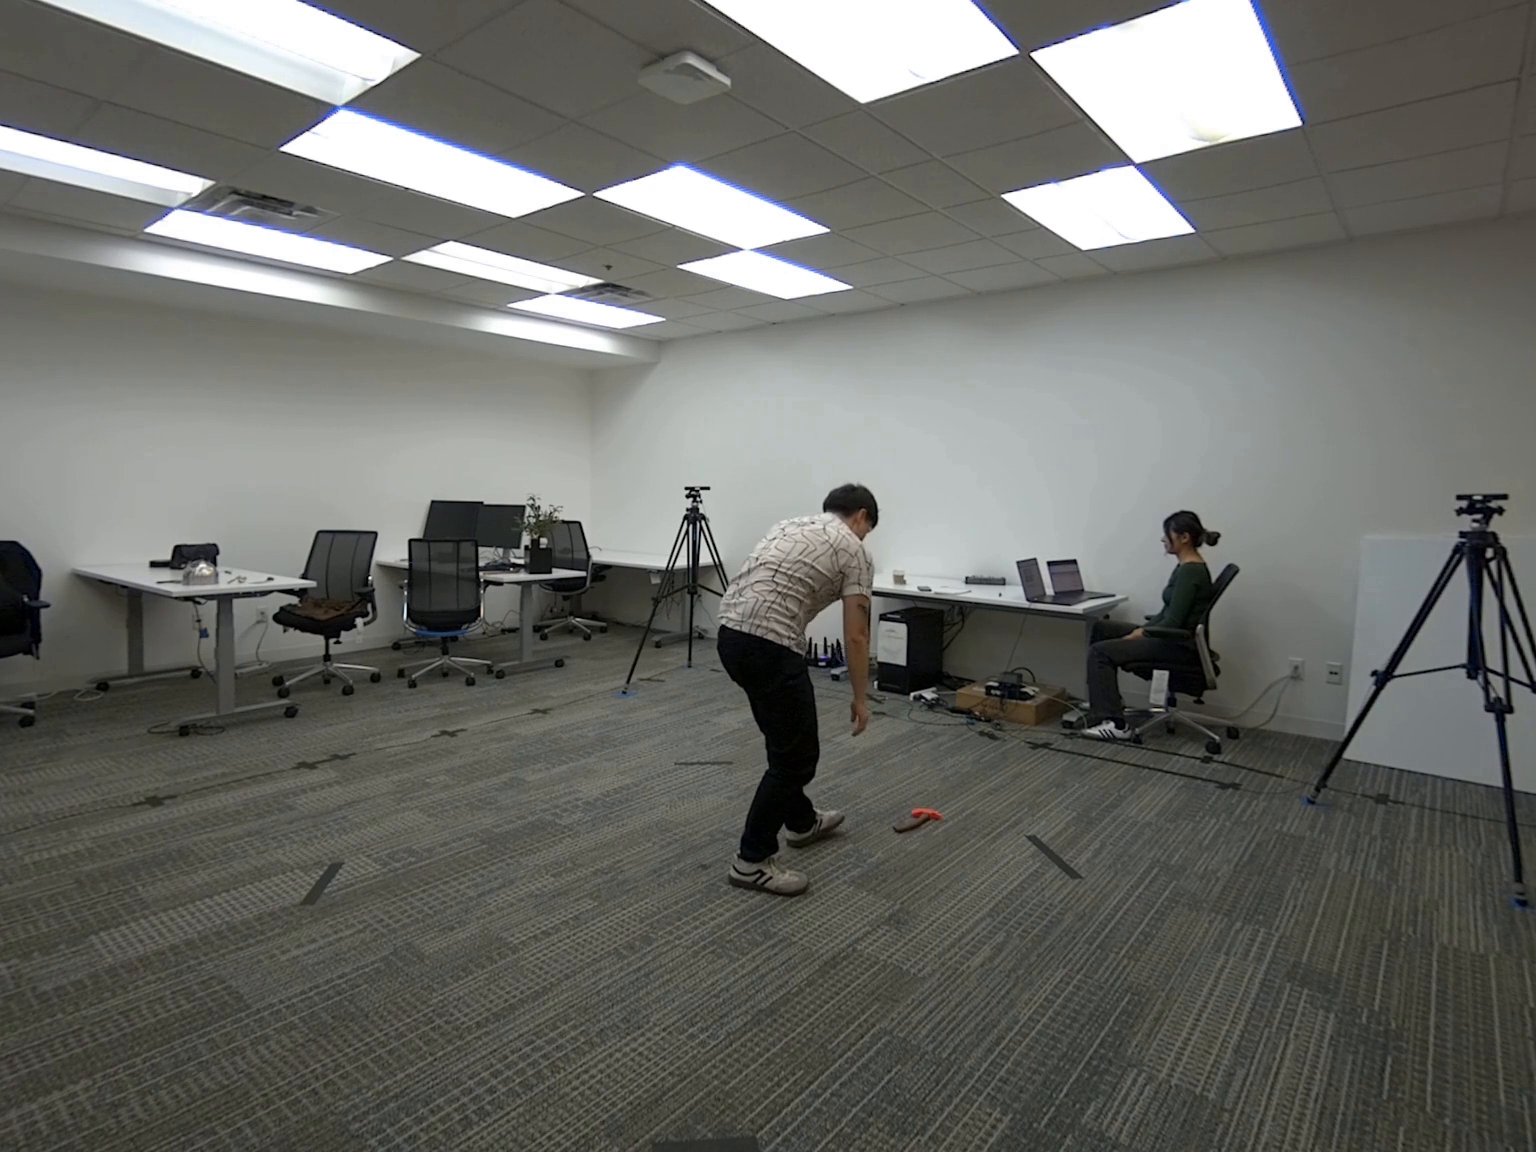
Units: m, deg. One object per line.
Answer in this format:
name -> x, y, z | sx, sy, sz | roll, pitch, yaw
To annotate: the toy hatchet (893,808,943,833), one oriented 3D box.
toy hatchet -> 0.597, 1.018, 3.584 | 0.263, 0.029, 0.135 | -6, 9, -35
